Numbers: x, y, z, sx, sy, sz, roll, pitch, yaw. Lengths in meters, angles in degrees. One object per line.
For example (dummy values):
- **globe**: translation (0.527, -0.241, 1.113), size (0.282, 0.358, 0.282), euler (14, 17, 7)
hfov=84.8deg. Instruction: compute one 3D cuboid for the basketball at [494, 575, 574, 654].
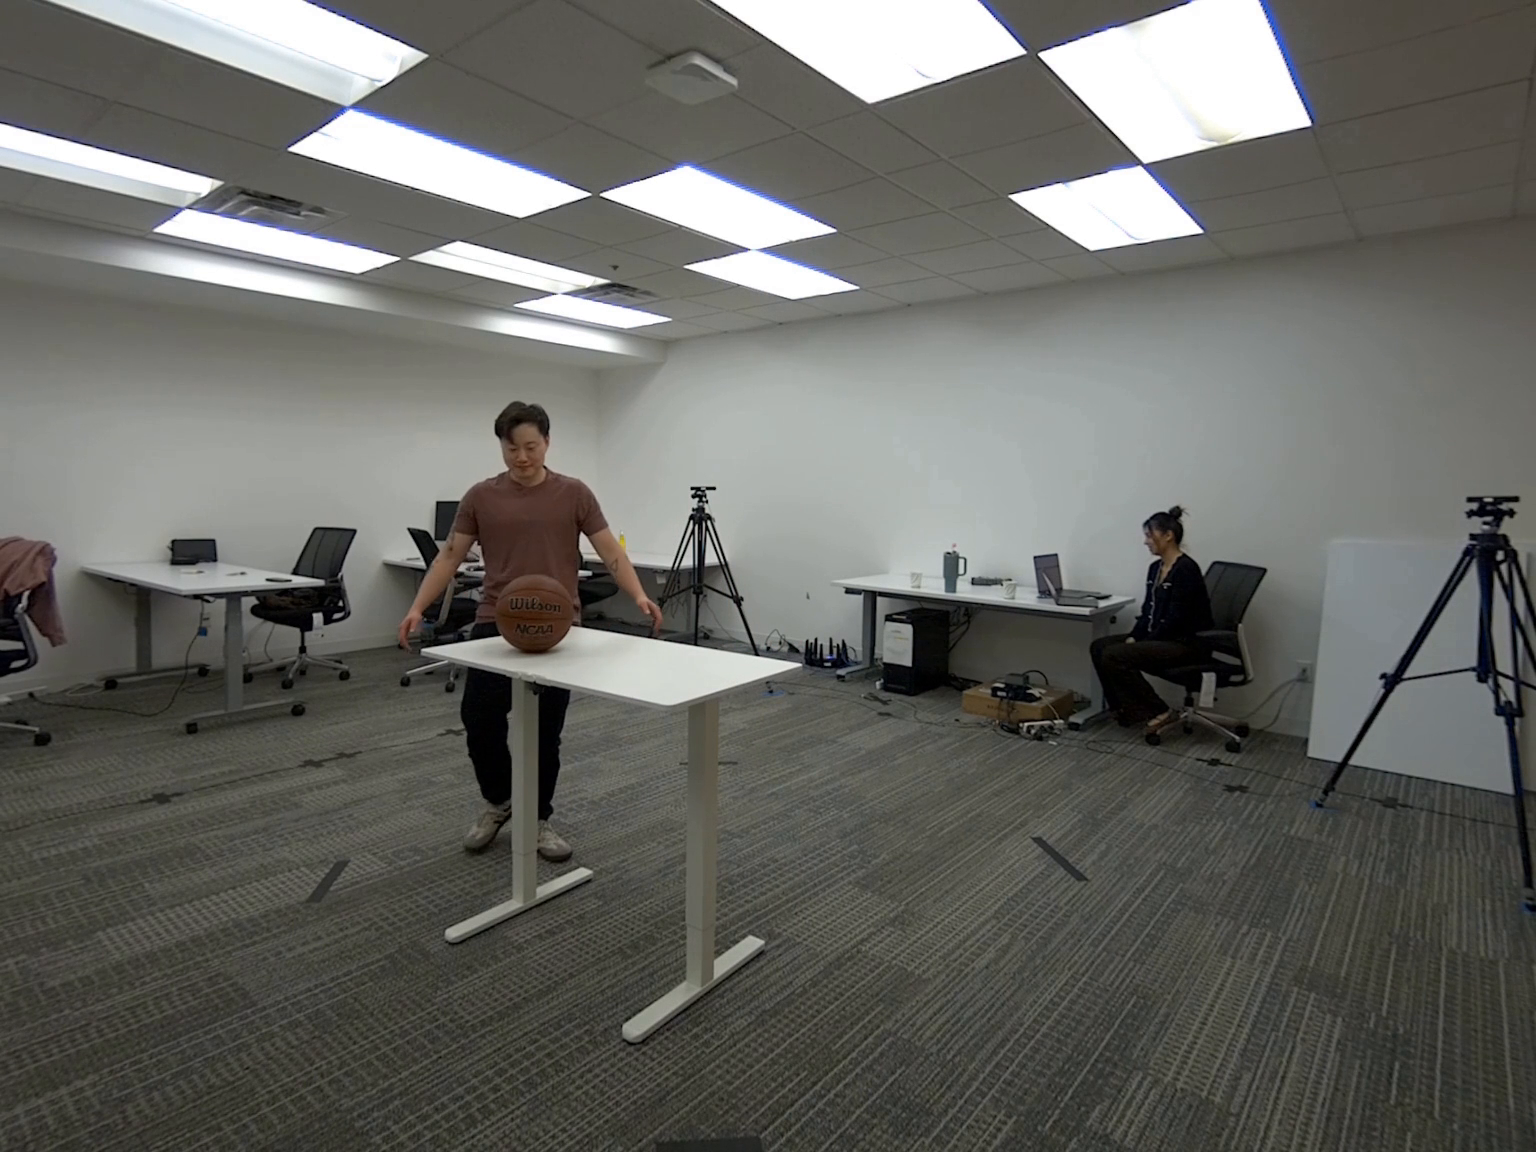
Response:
- **basketball**: translation (-0.727, 0.112, 2.593), size (0.235, 0.235, 0.237), euler (1, 4, -2)
